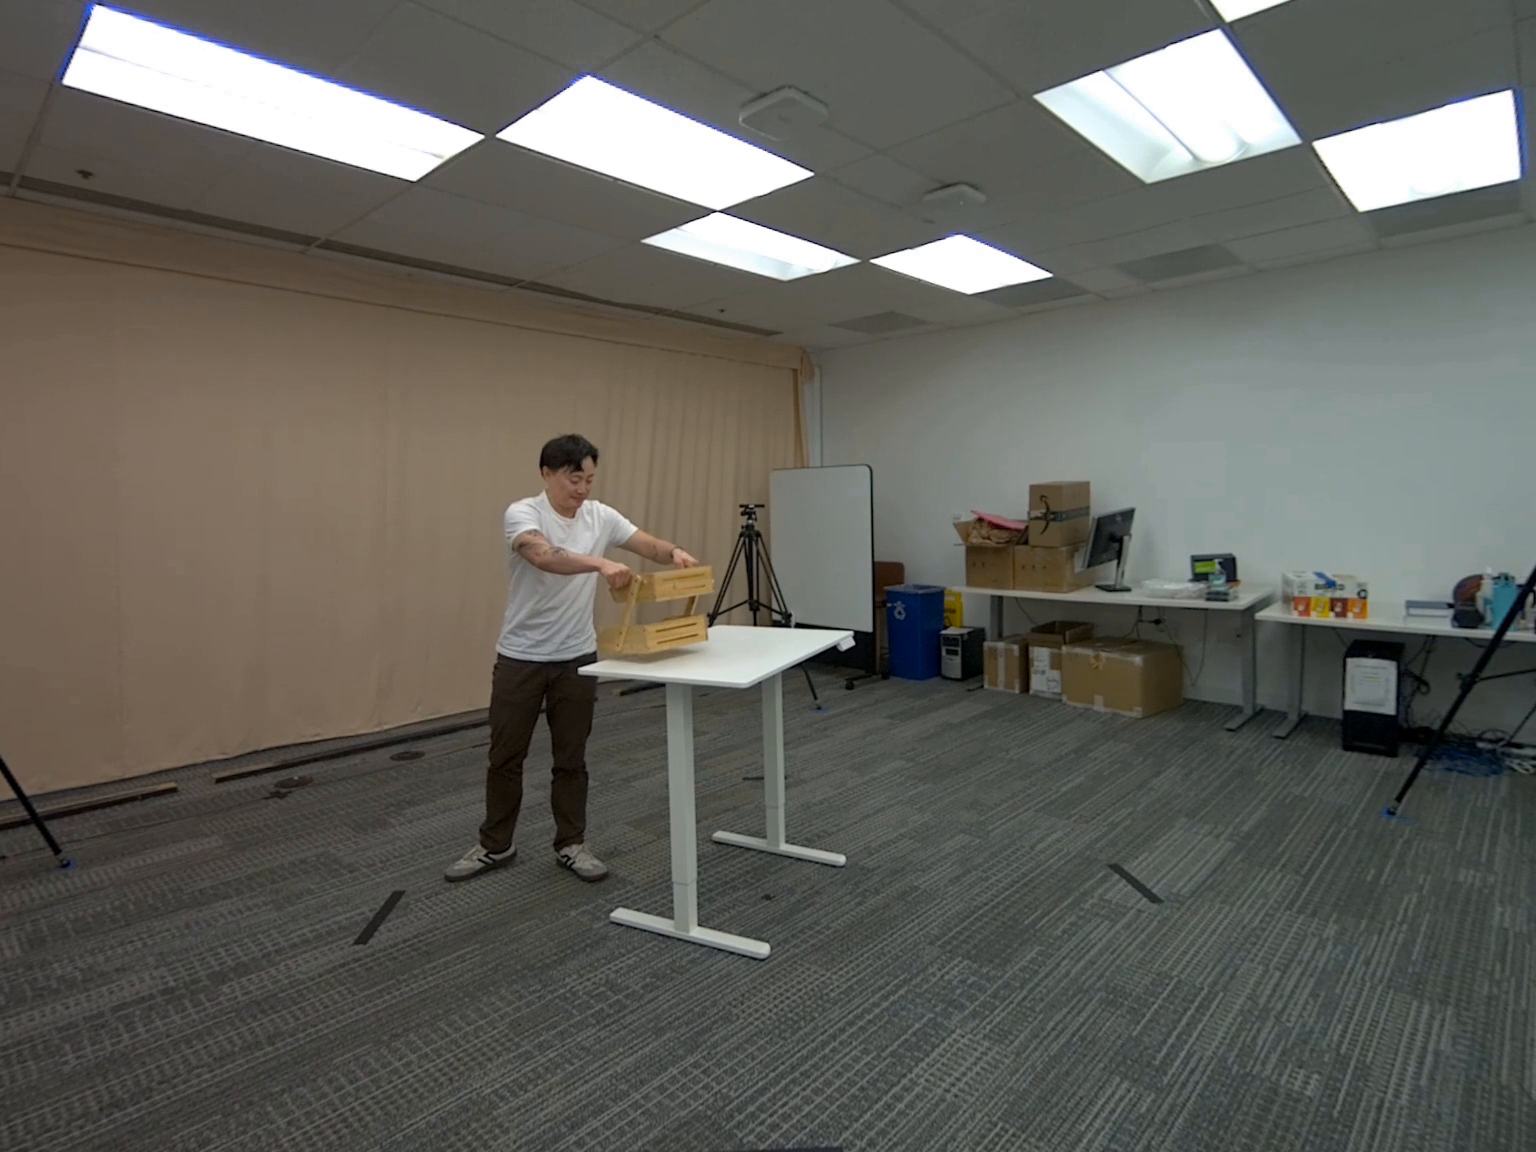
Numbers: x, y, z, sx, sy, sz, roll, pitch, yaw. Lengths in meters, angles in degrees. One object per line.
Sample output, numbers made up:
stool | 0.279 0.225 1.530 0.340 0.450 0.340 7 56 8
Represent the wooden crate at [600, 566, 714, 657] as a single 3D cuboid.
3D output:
wooden crate | -0.394 0.113 2.892 0.311 0.273 0.315 -4 2 39
